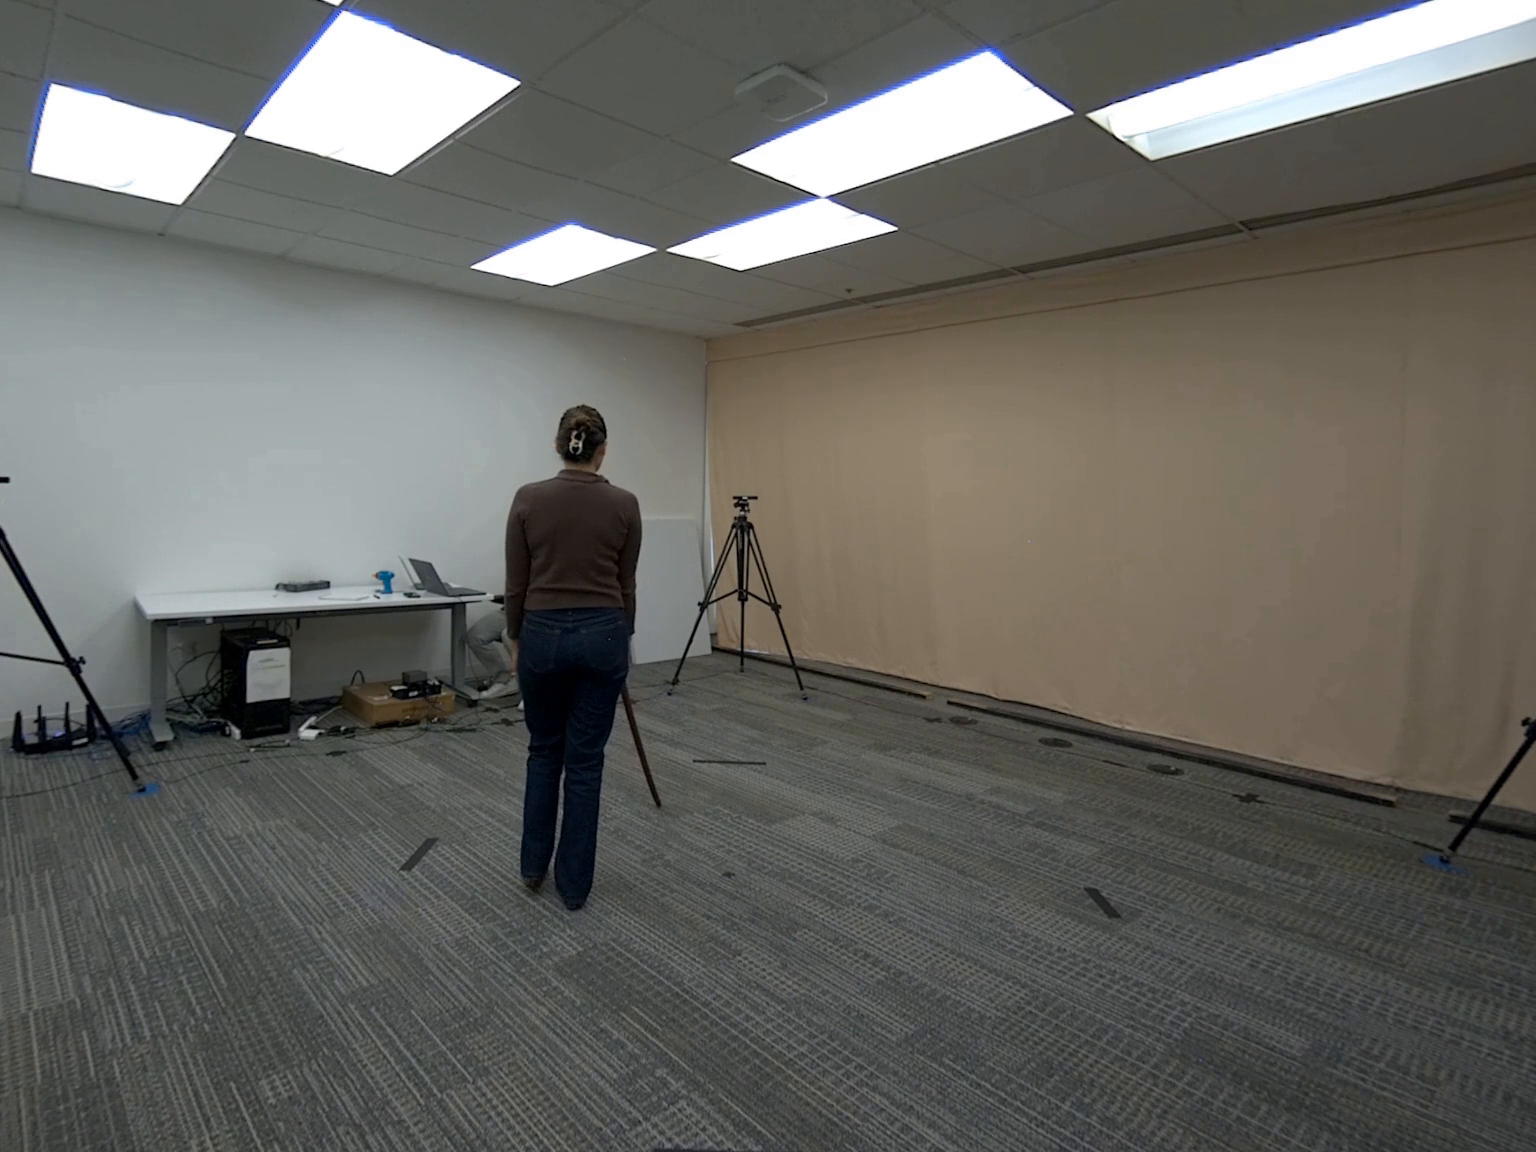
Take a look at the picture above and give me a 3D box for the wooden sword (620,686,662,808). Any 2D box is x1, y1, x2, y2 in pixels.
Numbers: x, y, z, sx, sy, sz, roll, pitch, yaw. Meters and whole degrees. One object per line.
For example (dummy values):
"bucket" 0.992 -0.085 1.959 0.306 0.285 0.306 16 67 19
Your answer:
"wooden sword" -0.536 0.675 3.455 0.052 1.000 0.024 10 45 14
